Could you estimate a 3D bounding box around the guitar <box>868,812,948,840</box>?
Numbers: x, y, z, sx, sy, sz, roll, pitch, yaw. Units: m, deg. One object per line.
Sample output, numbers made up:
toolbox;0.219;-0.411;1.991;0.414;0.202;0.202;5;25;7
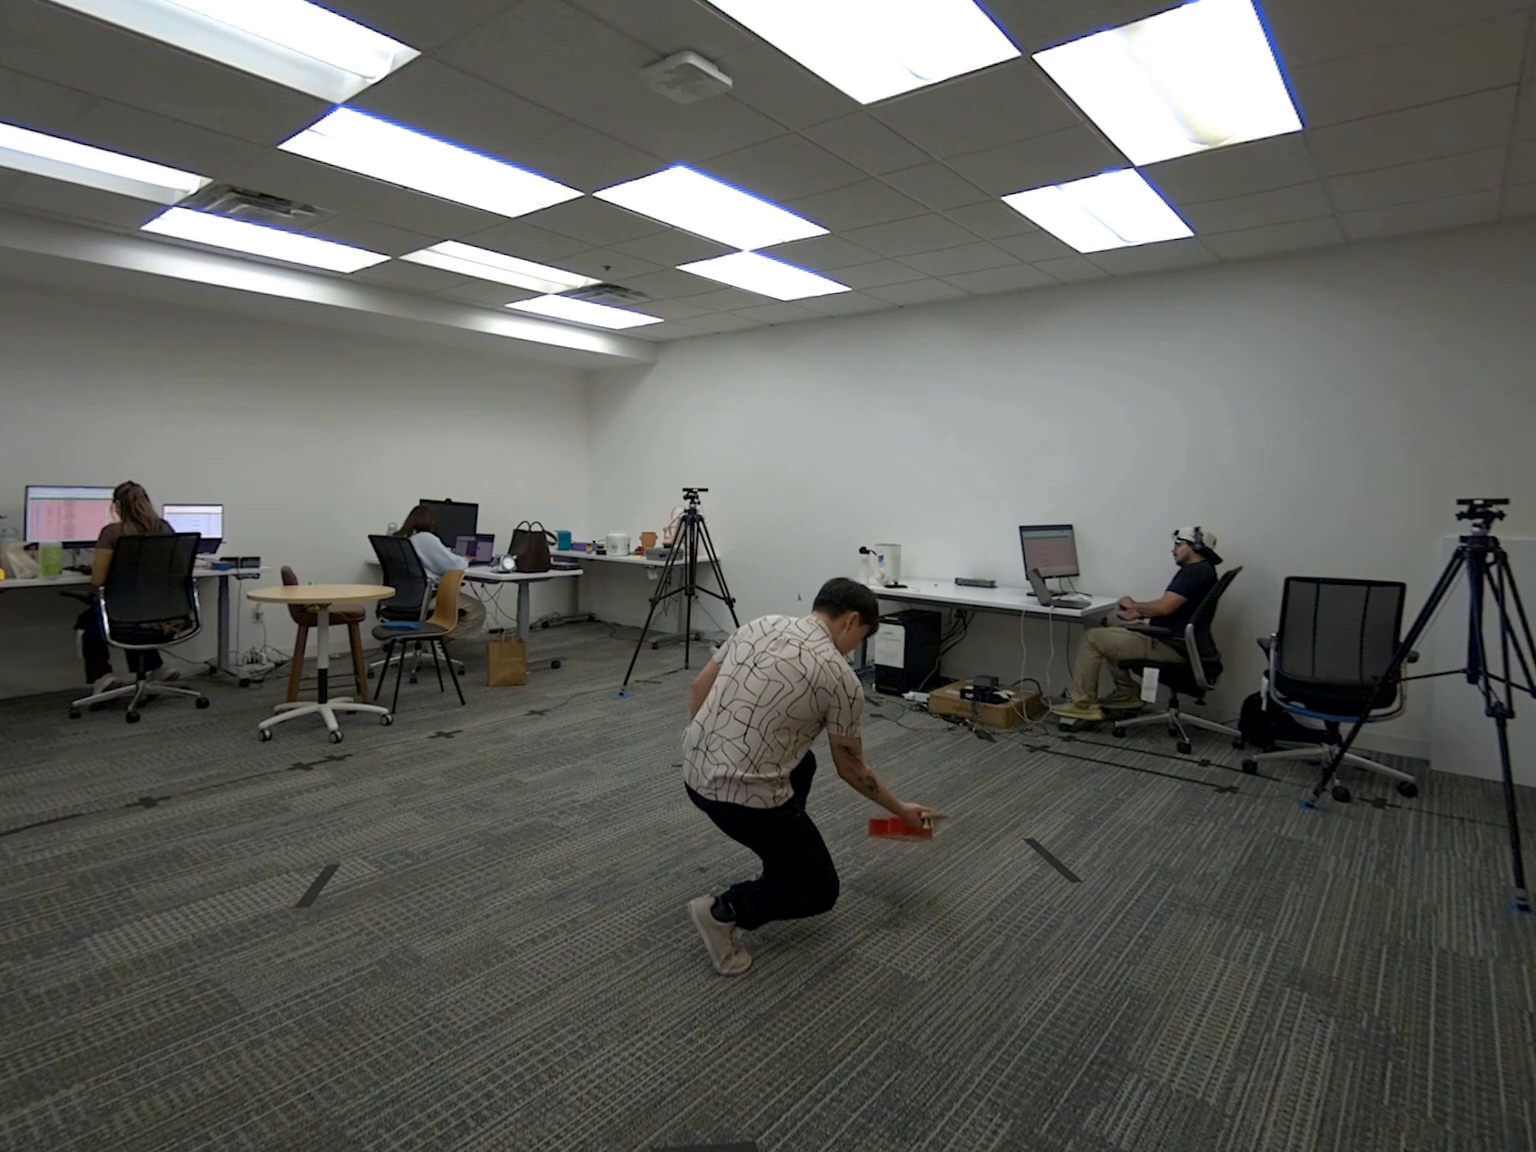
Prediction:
guitar;0.448;0.834;2.835;0.193;0.072;0.488;5;-20;1
